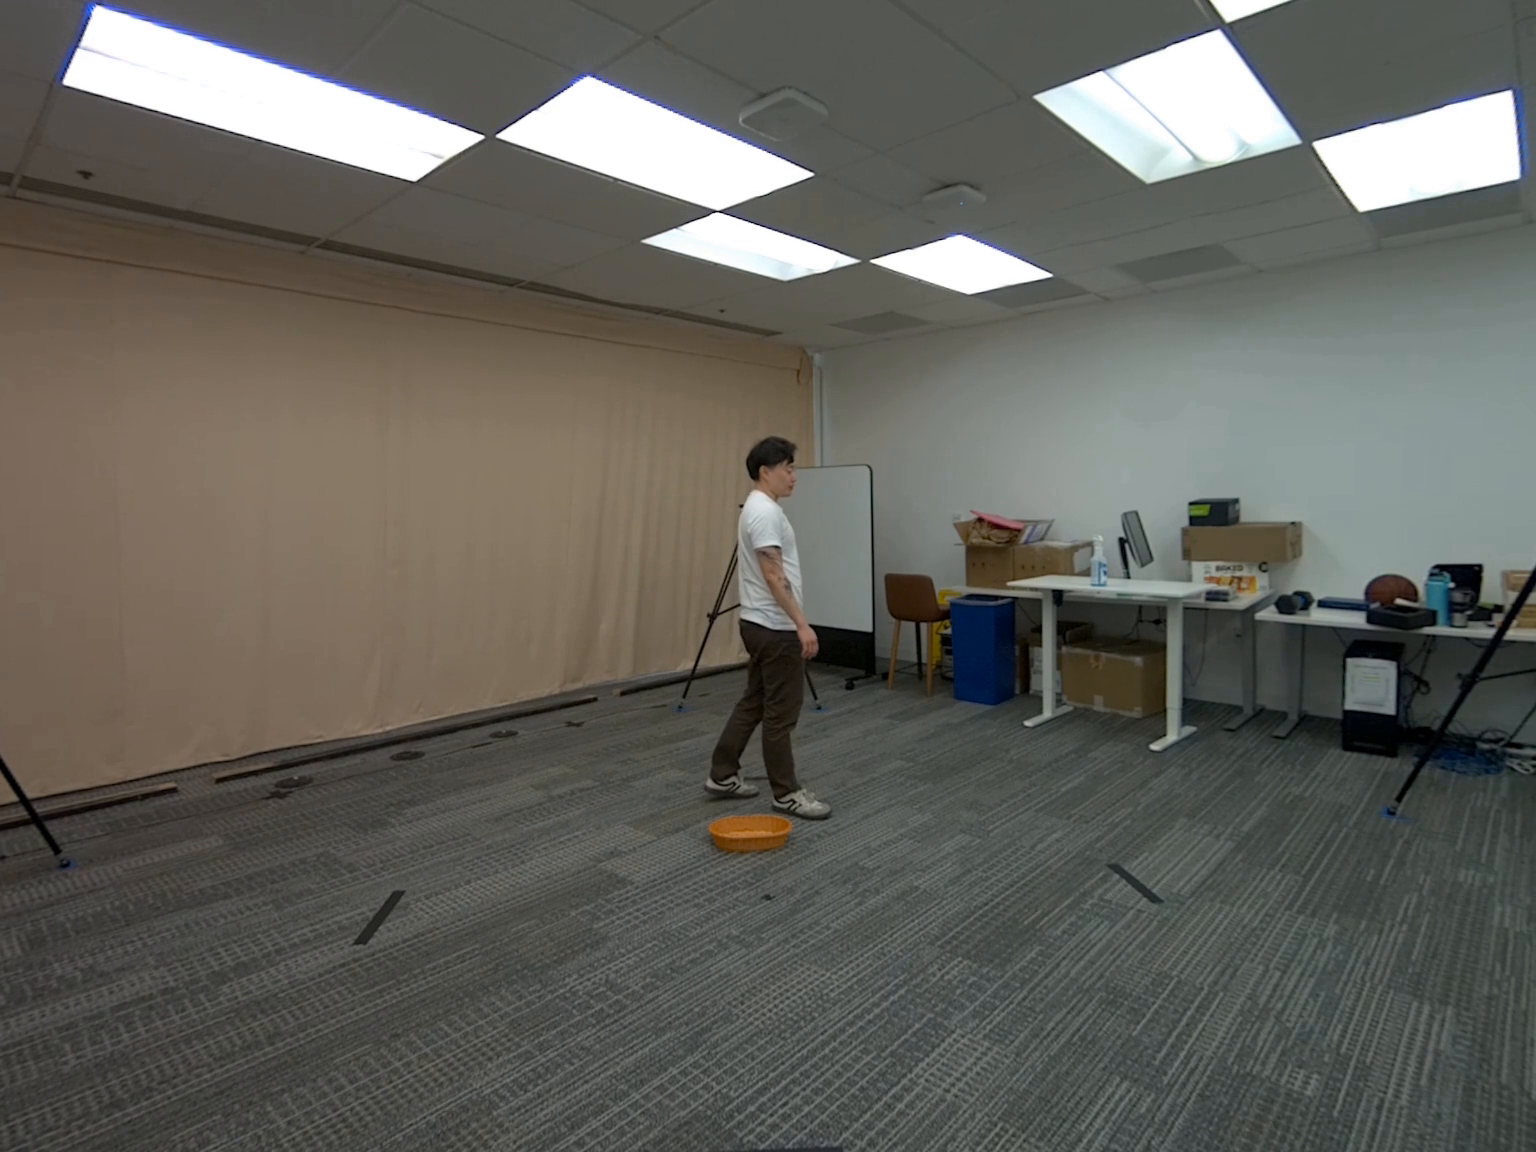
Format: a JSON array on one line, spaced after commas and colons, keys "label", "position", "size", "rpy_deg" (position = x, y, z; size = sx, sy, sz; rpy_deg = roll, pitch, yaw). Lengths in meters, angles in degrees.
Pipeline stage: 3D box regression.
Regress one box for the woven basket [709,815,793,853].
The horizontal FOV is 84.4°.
[{"label": "woven basket", "position": [-0.074, 1.057, 3.470], "size": [0.349, 0.073, 0.254], "rpy_deg": [-2, 4, -4]}]
